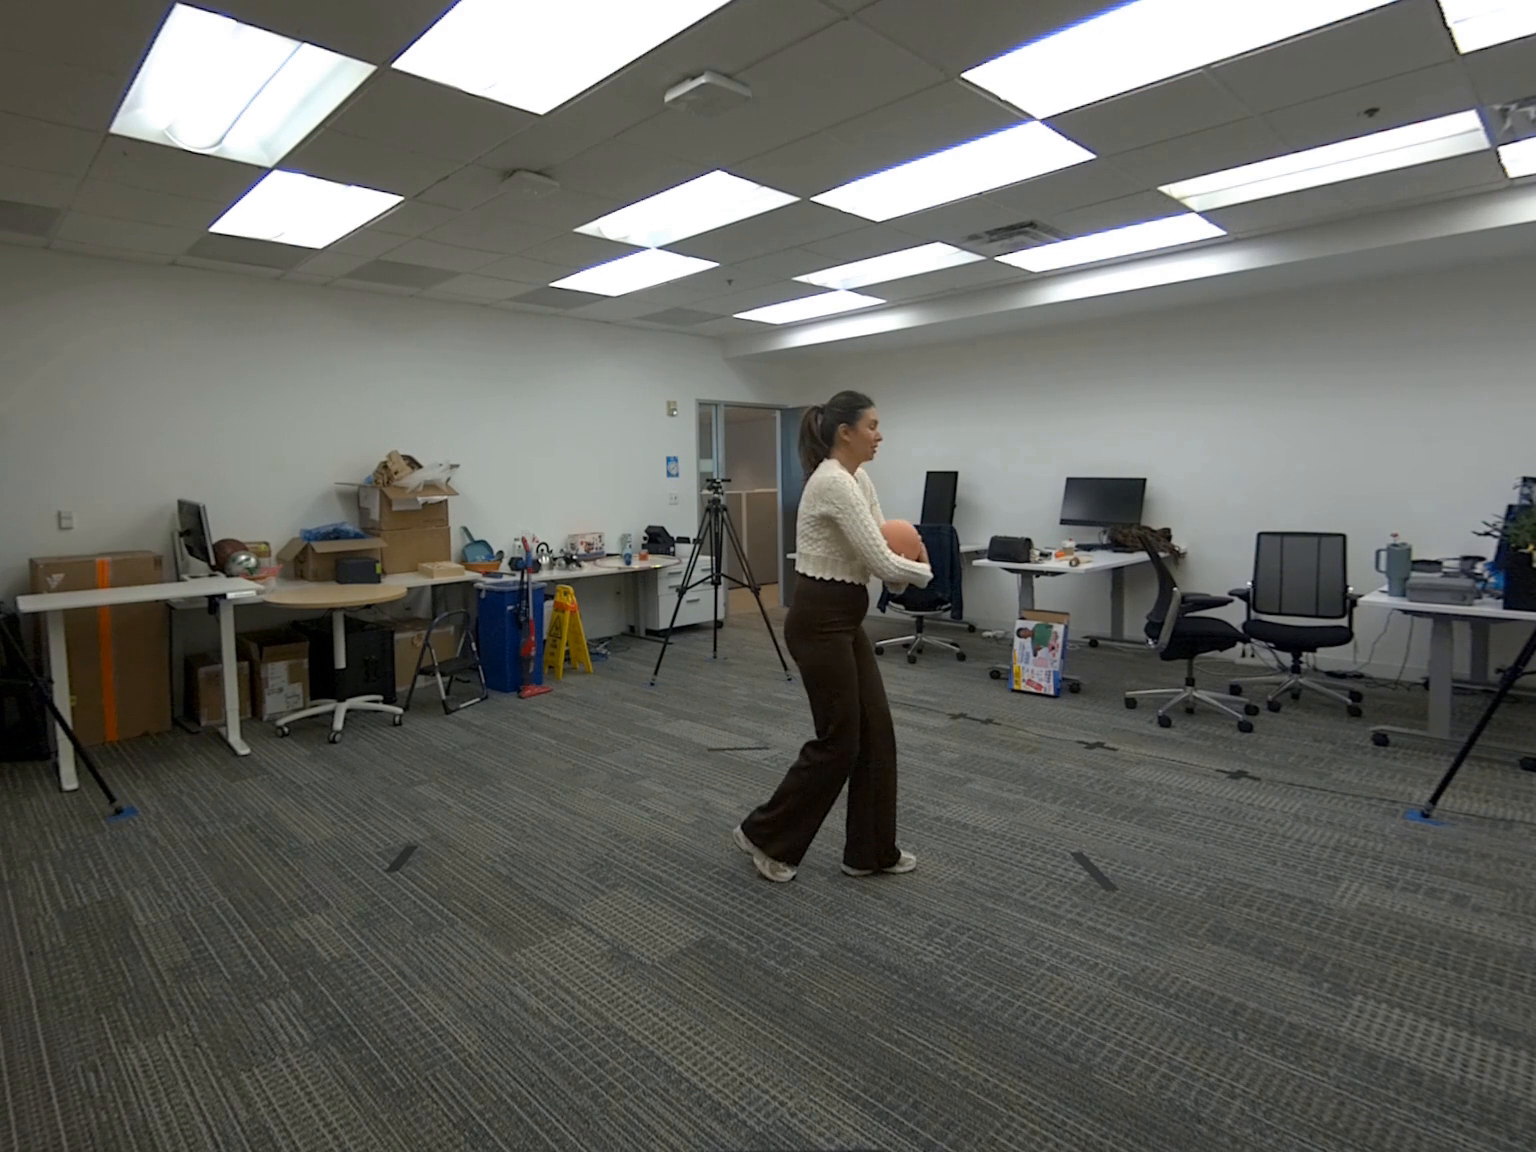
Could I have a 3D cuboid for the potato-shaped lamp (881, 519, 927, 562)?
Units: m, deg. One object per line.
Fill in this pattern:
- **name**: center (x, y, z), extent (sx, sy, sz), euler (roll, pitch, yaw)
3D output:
- **potato-shaped lamp**: center (0.427, -0.118, 2.900), extent (0.168, 0.172, 0.194), euler (31, -21, 13)
